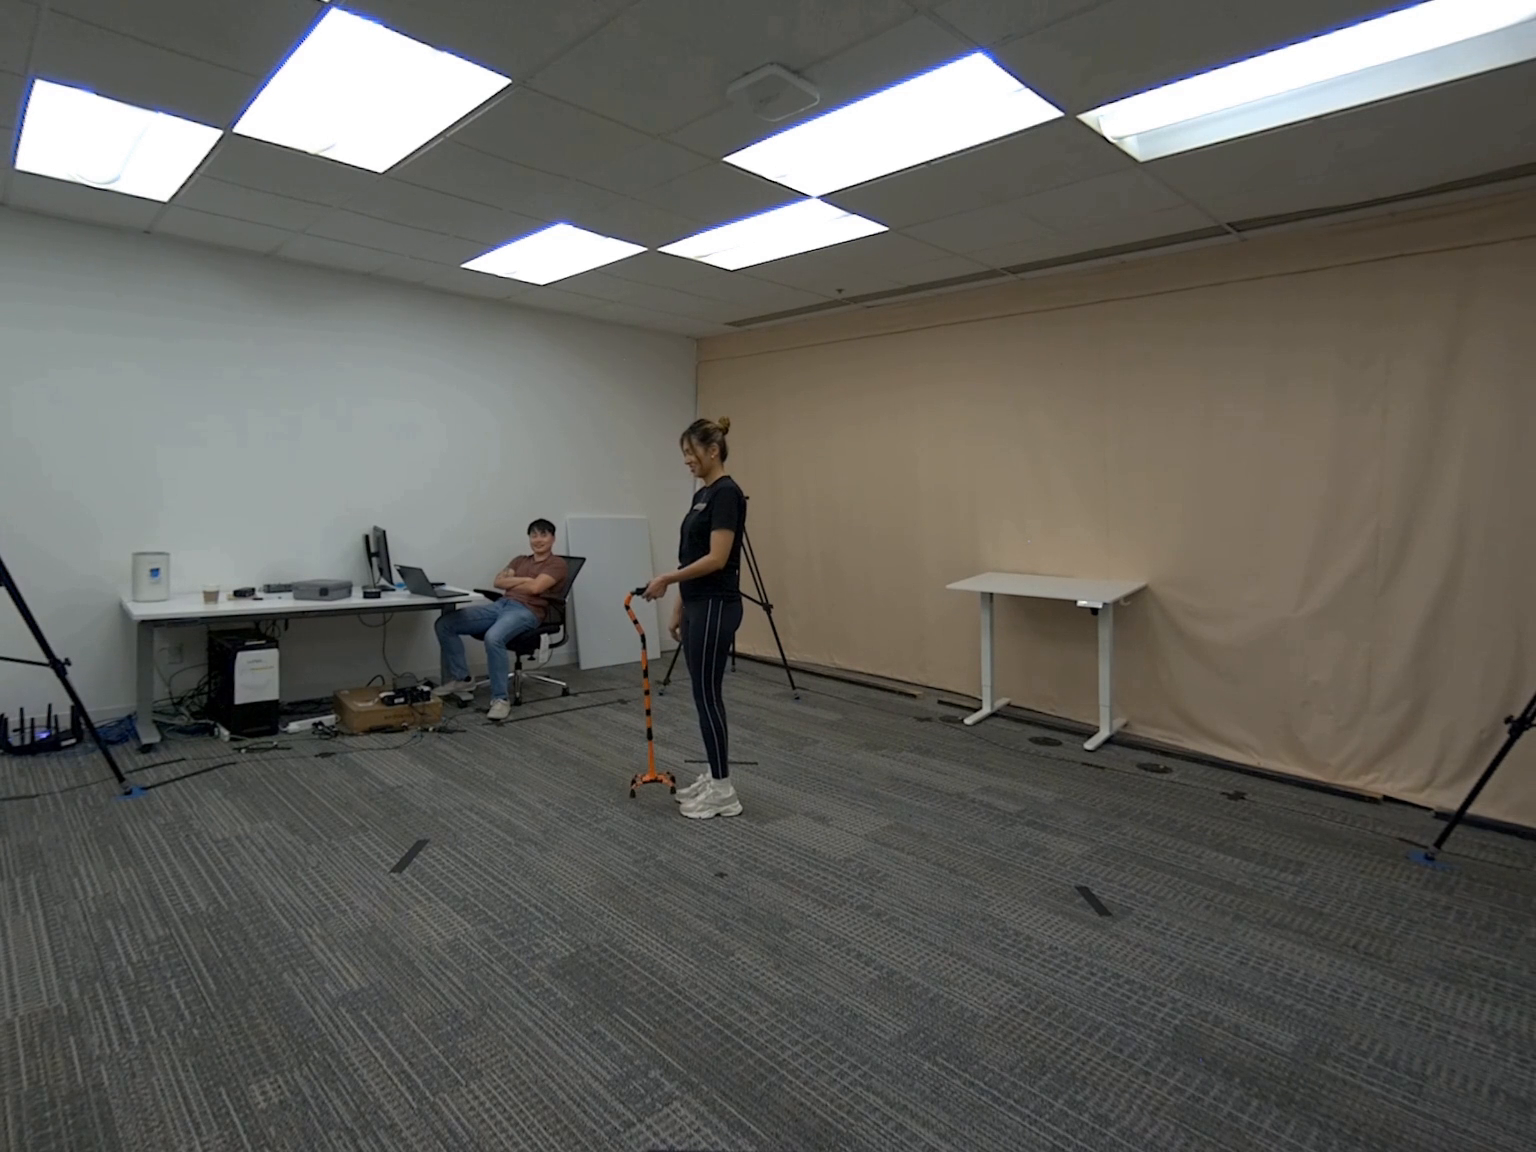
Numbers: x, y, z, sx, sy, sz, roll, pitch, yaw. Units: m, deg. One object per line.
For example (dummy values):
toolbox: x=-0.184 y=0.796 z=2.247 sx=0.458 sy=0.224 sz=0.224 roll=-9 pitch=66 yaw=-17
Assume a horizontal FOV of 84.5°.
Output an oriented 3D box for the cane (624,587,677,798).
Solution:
cane: x=-0.541 y=0.505 z=3.686 sx=0.206 sy=0.903 sz=0.153 roll=-2 pitch=6 yaw=-5
